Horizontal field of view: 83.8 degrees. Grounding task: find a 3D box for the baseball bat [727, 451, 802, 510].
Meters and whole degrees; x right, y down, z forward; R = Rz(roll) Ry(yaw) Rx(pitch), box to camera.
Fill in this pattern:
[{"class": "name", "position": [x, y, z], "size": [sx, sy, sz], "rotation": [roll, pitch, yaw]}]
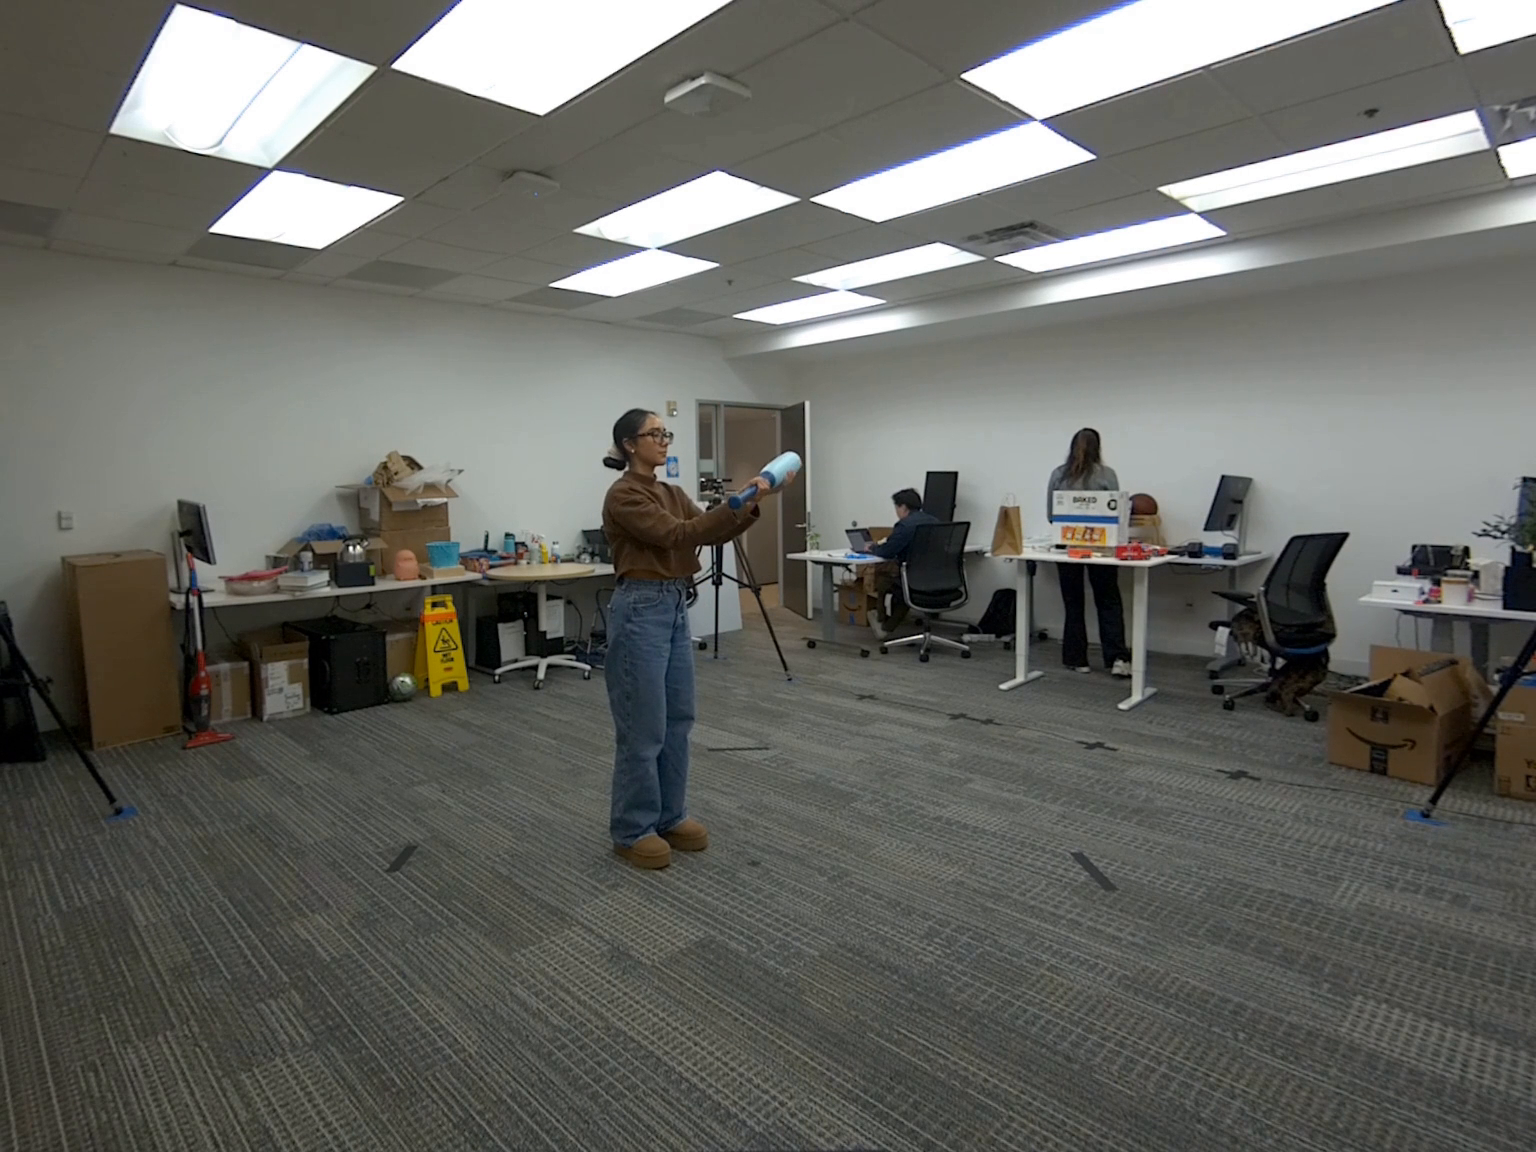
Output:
[{"class": "baseball bat", "position": [-0.009, -0.323, 2.976], "size": [0.091, 0.087, 0.541], "rotation": [1, 22, 23]}]
